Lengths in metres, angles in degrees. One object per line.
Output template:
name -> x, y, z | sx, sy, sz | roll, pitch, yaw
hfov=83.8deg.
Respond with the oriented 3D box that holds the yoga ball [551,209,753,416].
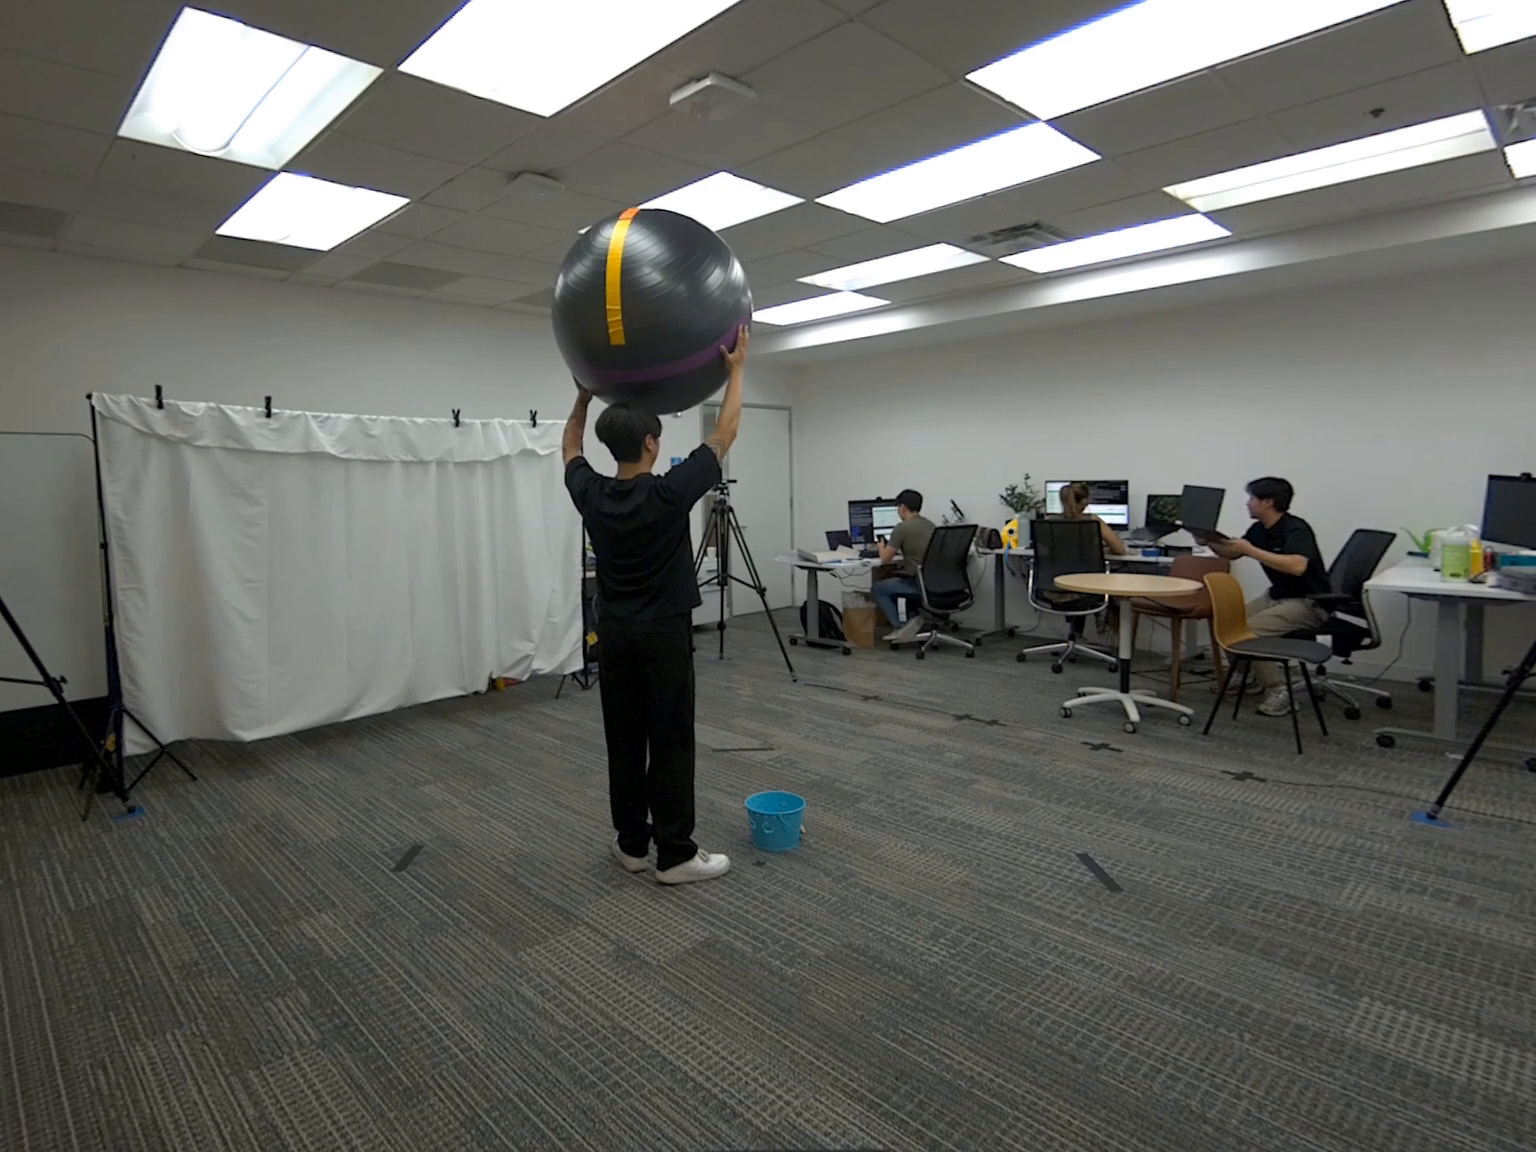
yoga ball -> -0.437, -0.985, 3.236 | 0.757, 0.755, 0.762 | -1, 5, -2
